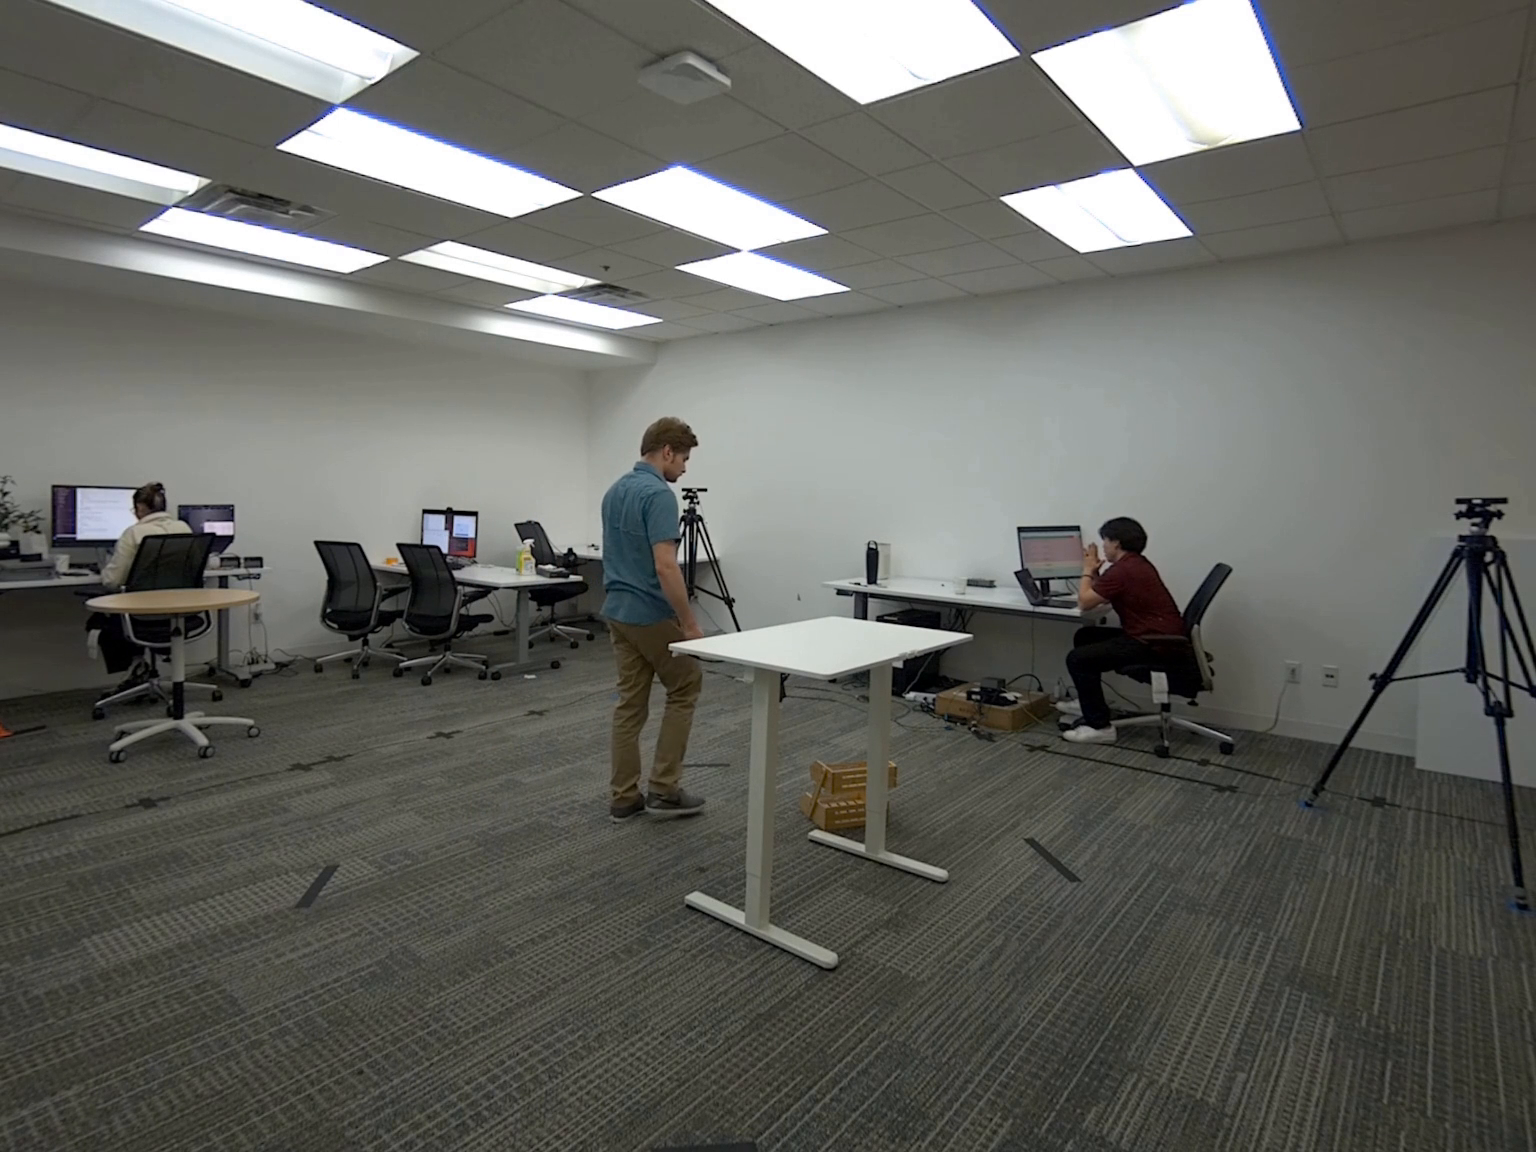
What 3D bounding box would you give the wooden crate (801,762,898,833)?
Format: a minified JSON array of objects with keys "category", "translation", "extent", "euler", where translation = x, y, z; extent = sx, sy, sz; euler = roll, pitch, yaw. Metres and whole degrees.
[{"category":"wooden crate","translation":[0.326,0.893,3.632],"extent":[0.317,0.272,0.310],"euler":[-1,6,-23]}]
